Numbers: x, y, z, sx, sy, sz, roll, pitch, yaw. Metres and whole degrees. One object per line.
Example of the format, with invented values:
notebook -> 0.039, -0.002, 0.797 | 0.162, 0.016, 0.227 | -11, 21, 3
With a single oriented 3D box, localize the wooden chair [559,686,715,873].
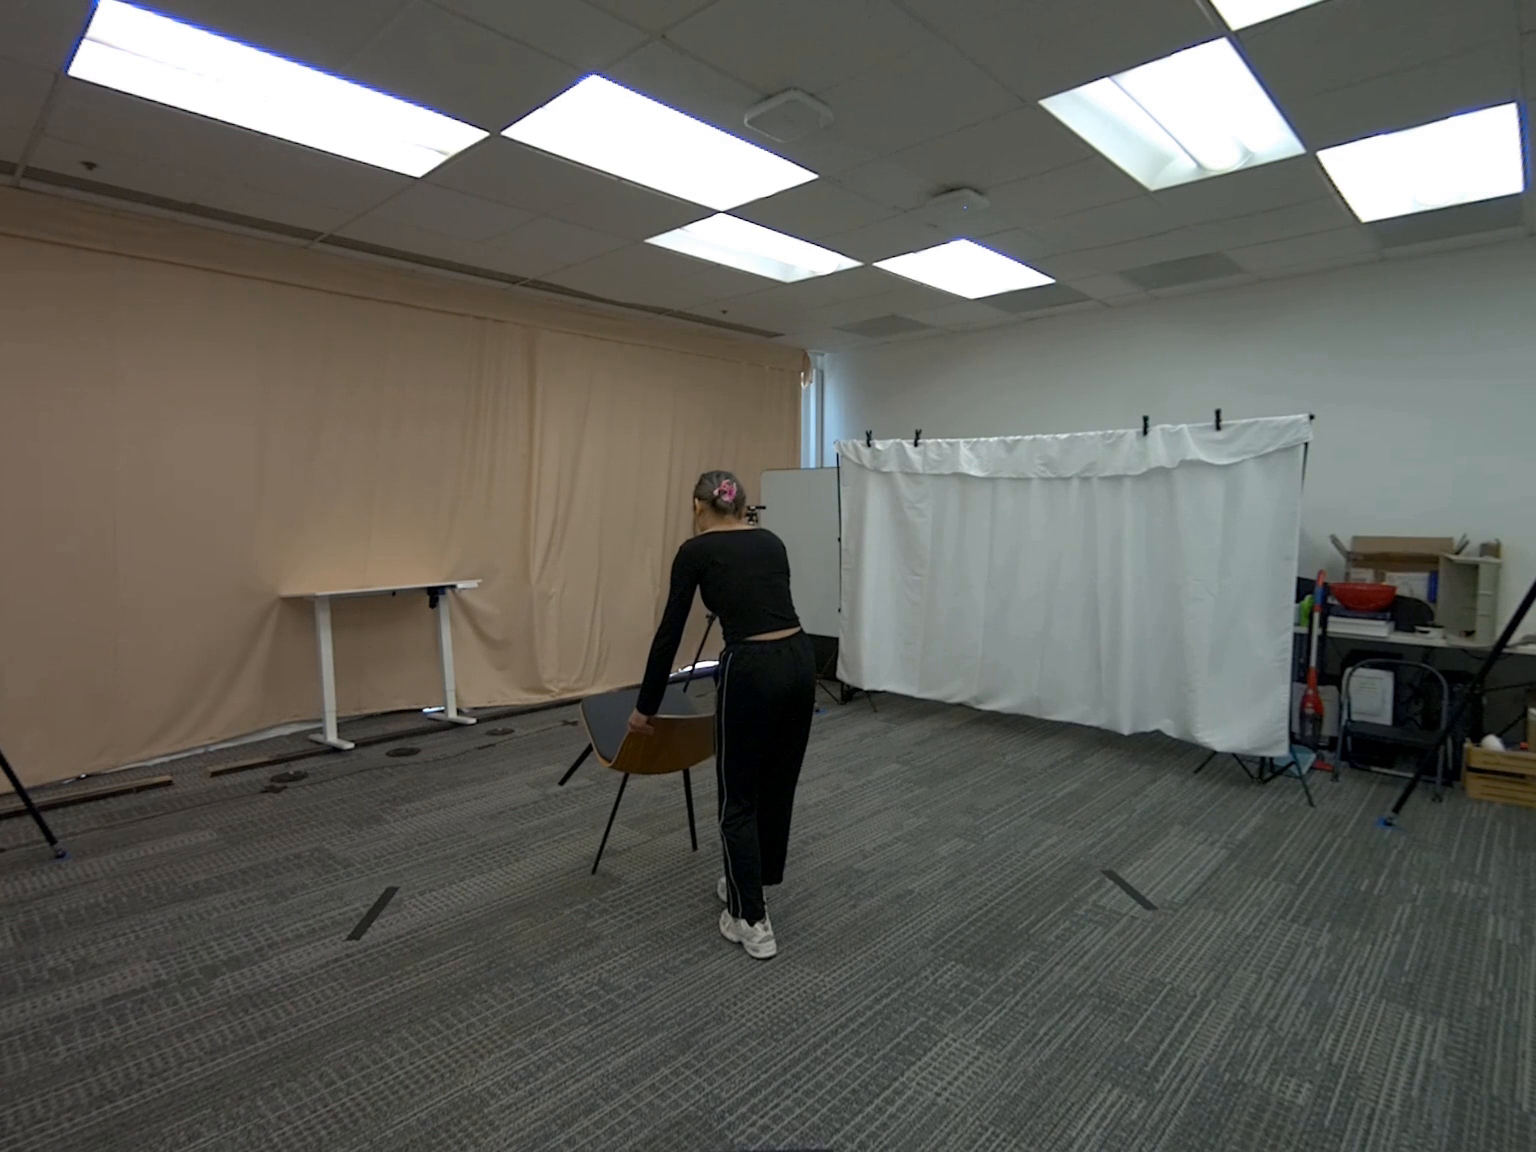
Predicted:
wooden chair -> -0.460, 0.634, 3.246 | 0.465, 0.872, 0.540 | -2, 41, -31
